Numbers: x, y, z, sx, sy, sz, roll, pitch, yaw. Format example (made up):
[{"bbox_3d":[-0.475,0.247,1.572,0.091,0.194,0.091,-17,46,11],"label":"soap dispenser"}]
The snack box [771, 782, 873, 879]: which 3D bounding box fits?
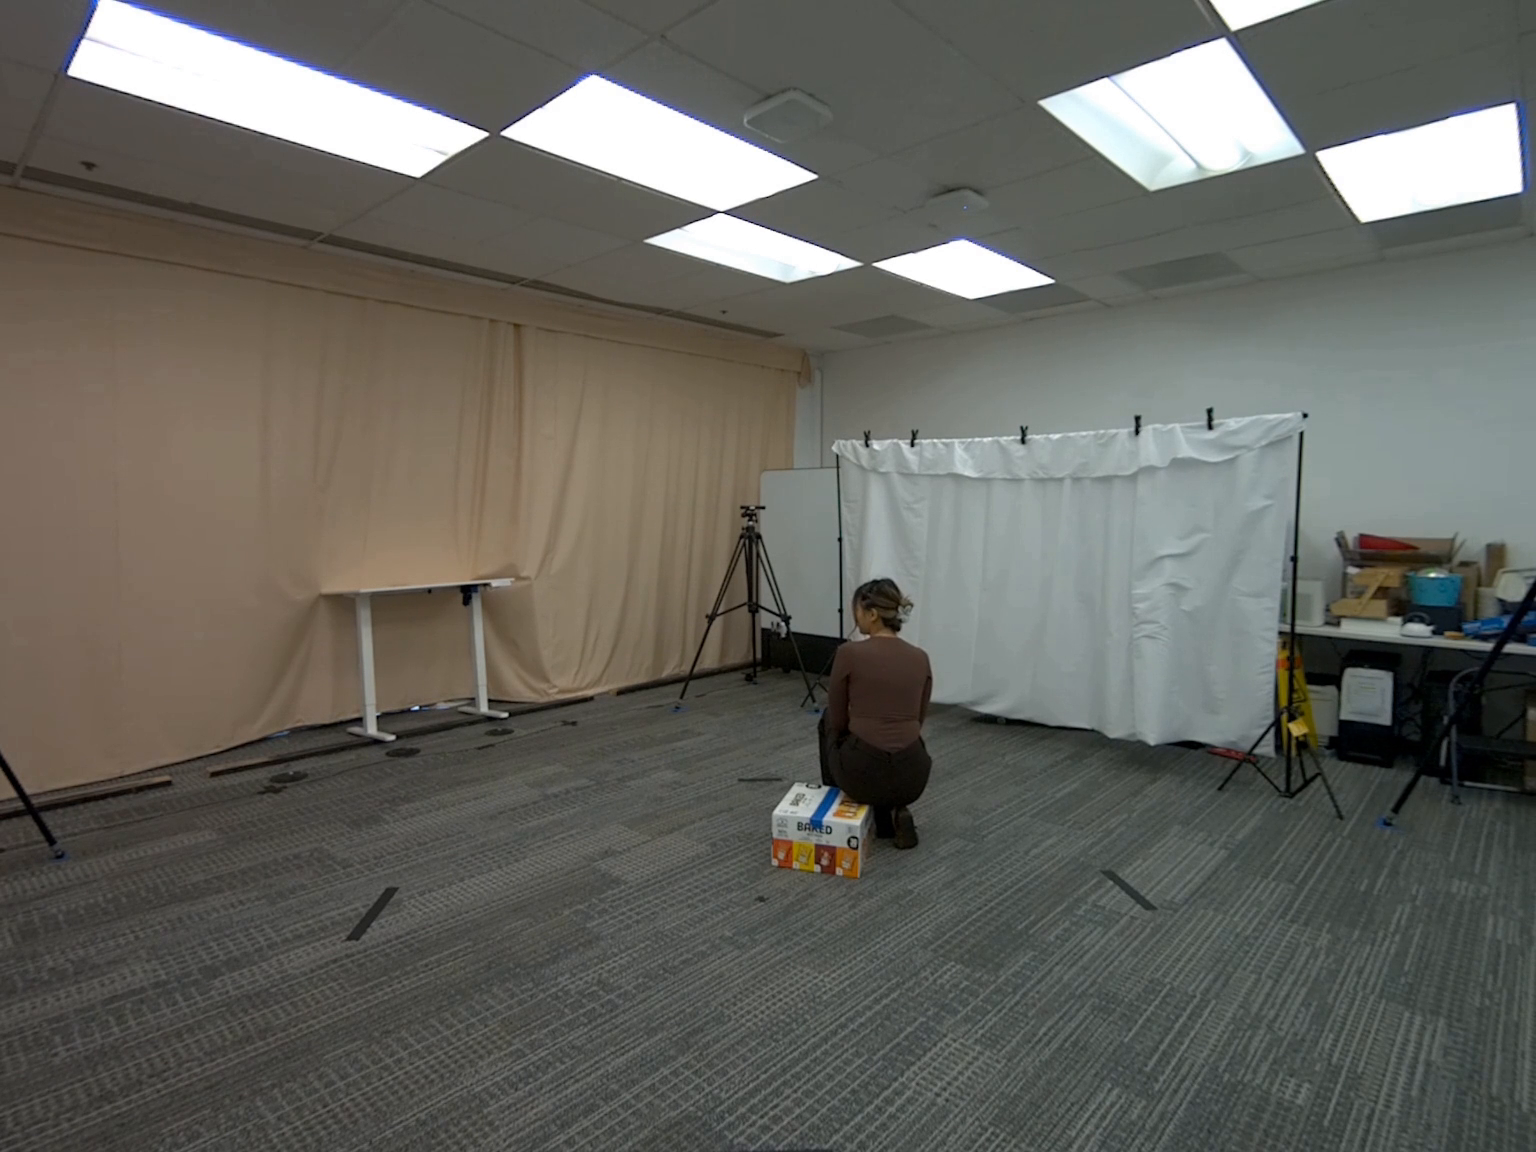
[{"bbox_3d":[0.232,1.010,3.384,0.347,0.205,0.398,2,4,17],"label":"snack box"}]
